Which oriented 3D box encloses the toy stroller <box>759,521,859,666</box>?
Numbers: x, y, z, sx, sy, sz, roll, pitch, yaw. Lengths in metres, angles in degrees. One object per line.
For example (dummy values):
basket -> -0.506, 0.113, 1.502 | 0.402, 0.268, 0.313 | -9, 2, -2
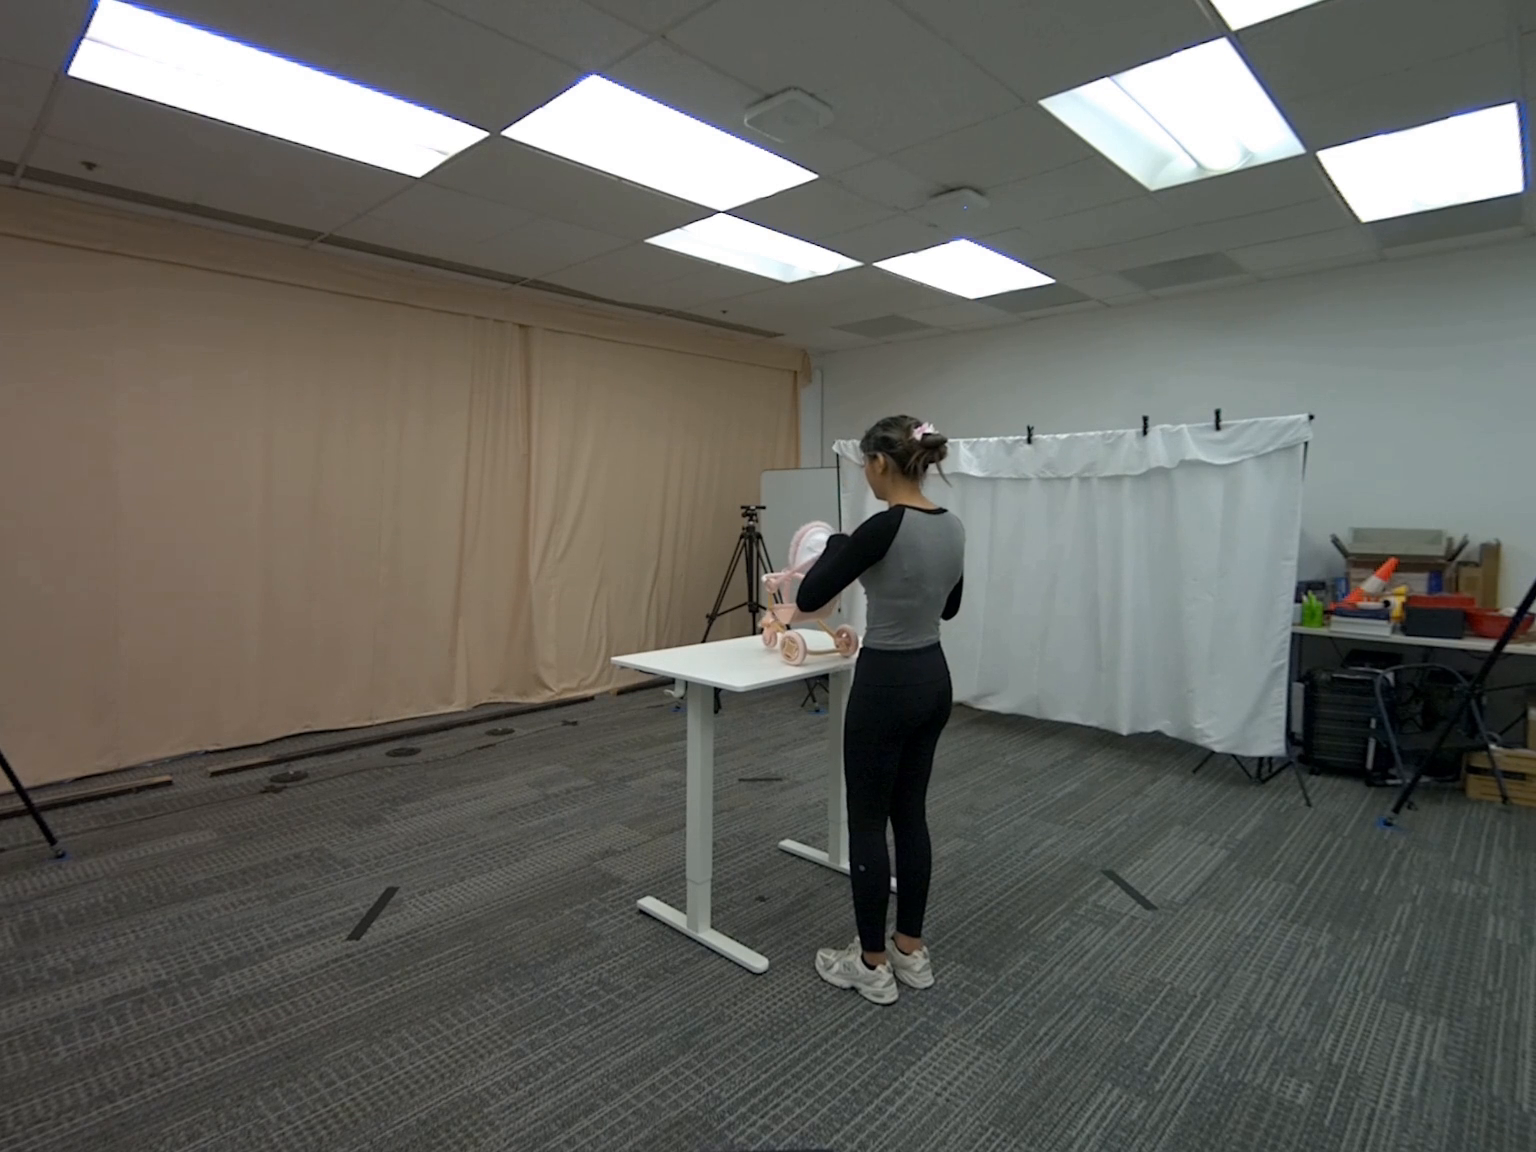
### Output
toy stroller -> 0.141, 0.055, 2.787 | 0.273, 0.531, 0.354 | -2, 23, -36
